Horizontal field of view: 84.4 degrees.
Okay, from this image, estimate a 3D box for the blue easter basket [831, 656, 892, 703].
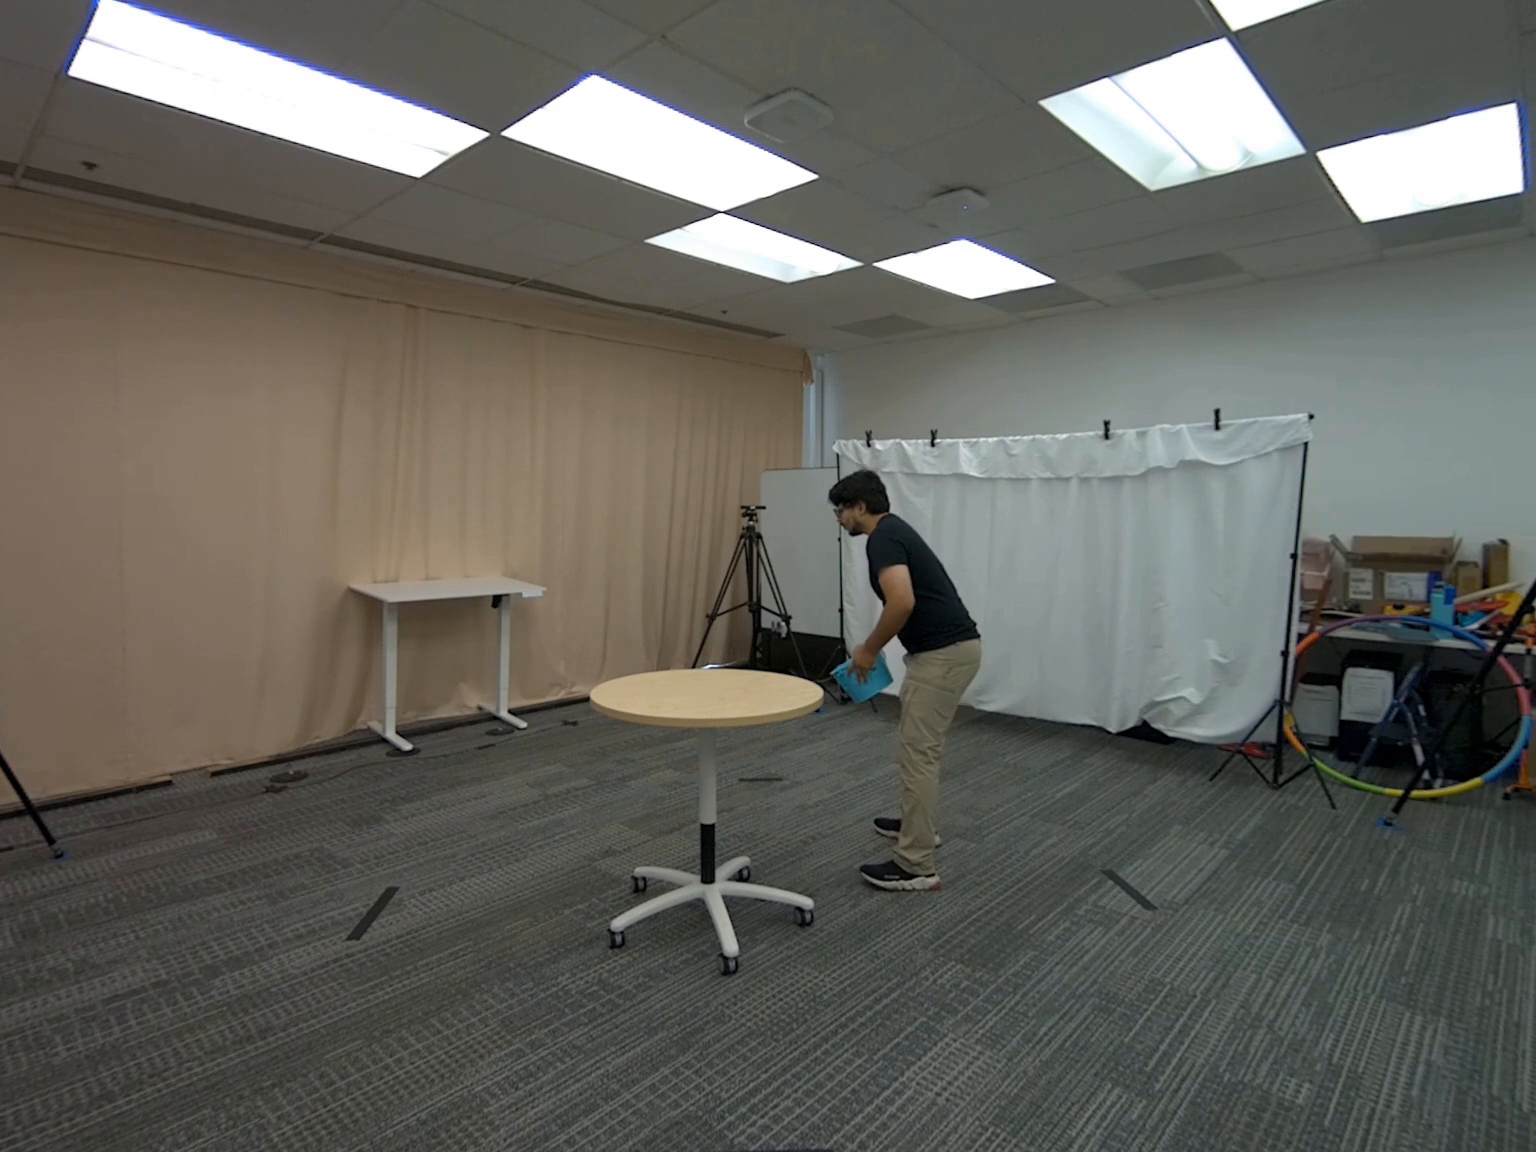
[{"bbox_3d":[0.404,0.408,3.416,0.243,0.157,0.242,-31,-5,-6],"label":"blue easter basket"}]
